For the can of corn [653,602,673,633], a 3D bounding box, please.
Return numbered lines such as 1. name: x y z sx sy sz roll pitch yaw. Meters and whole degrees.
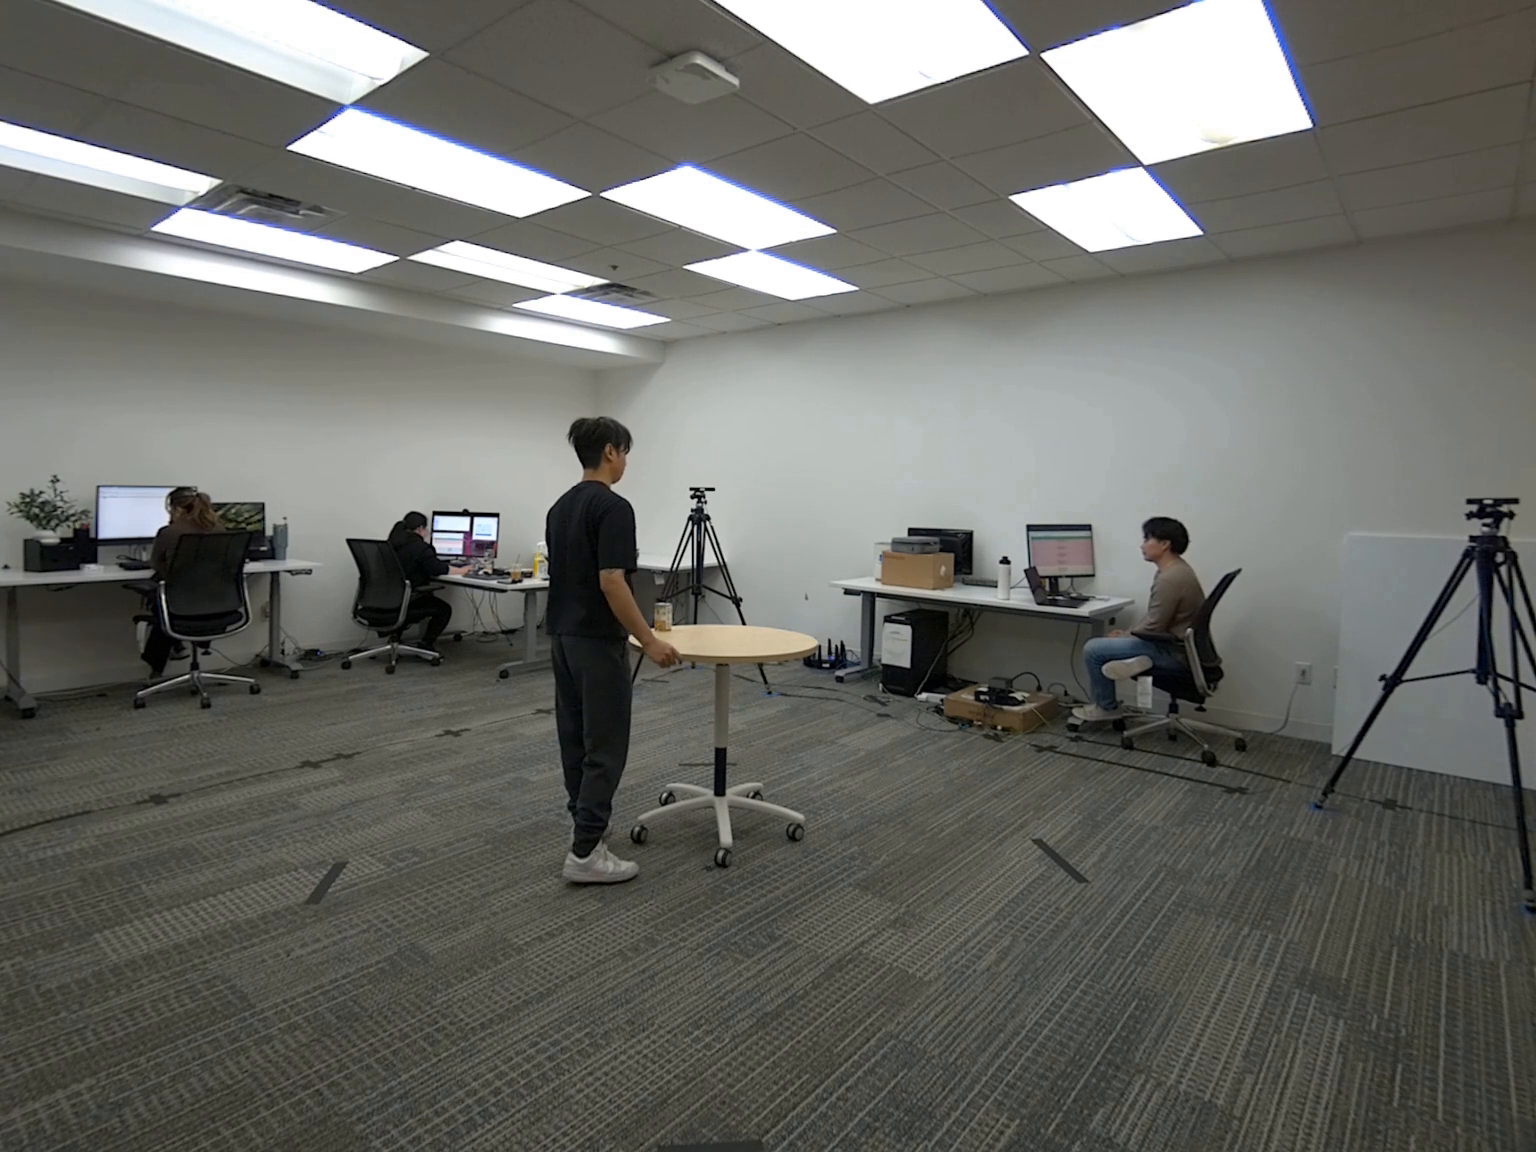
1. can of corn: -0.464 0.170 3.648 0.074 0.111 0.074 0 4 -2
